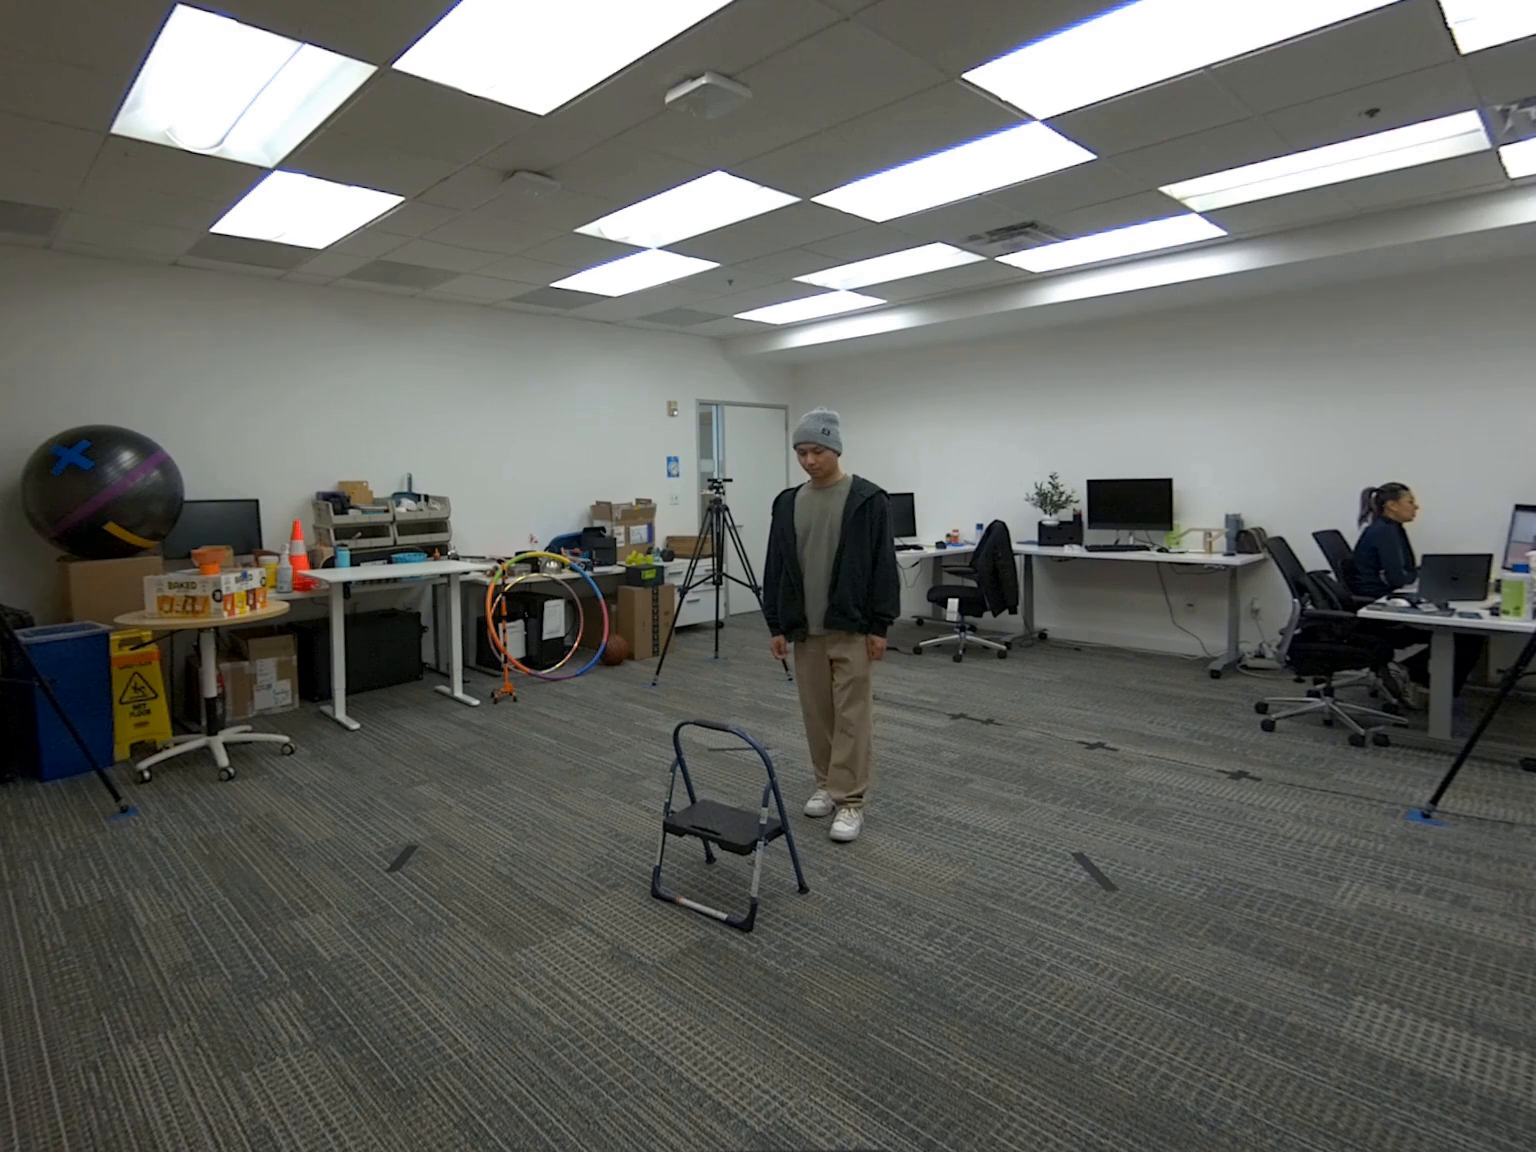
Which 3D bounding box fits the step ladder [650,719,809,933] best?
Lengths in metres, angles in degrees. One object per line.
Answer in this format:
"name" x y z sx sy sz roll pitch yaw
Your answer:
"step ladder" -0.135 0.770 2.867 0.443 0.604 0.341 2 5 35
